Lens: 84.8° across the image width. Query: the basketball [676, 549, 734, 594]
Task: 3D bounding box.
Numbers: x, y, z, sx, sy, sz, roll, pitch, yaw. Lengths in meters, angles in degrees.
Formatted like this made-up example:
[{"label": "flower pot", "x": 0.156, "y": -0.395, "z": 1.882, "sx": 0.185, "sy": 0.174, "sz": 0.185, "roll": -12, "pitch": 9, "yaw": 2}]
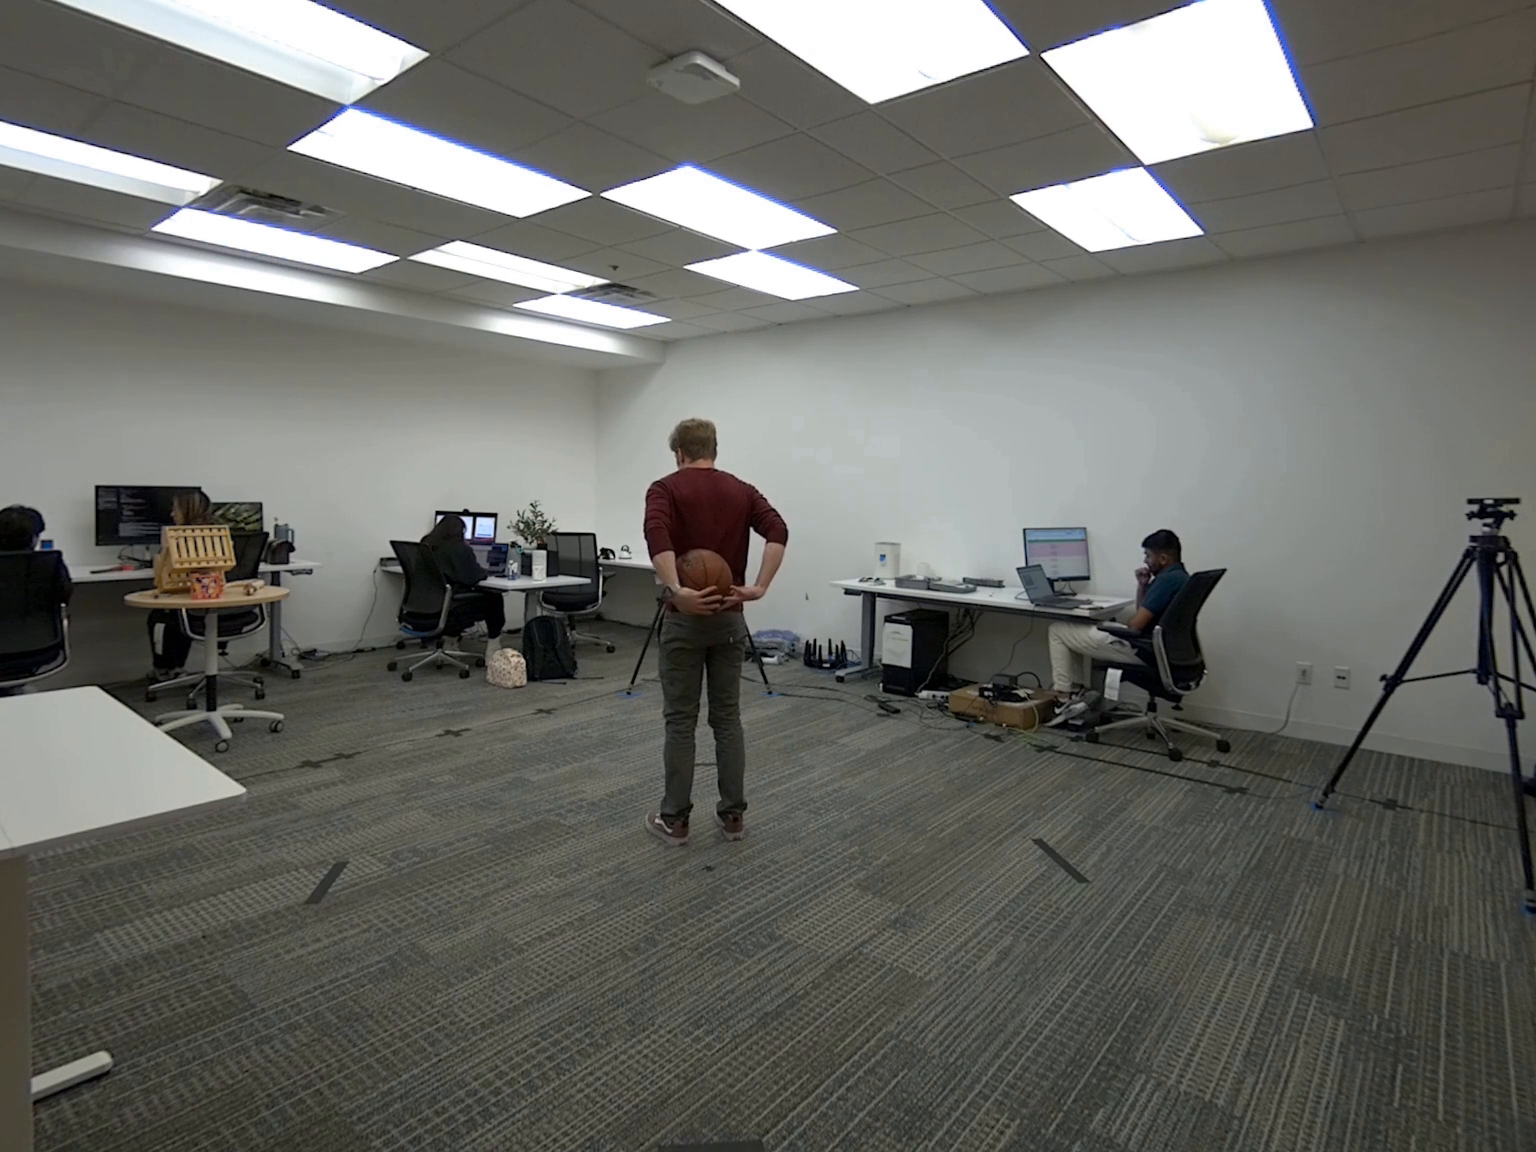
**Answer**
[{"label": "basketball", "x": -0.259, "y": 0.013, "z": 3.184, "sx": 0.235, "sy": 0.235, "sz": 0.237, "roll": 1, "pitch": 4, "yaw": -2}]
